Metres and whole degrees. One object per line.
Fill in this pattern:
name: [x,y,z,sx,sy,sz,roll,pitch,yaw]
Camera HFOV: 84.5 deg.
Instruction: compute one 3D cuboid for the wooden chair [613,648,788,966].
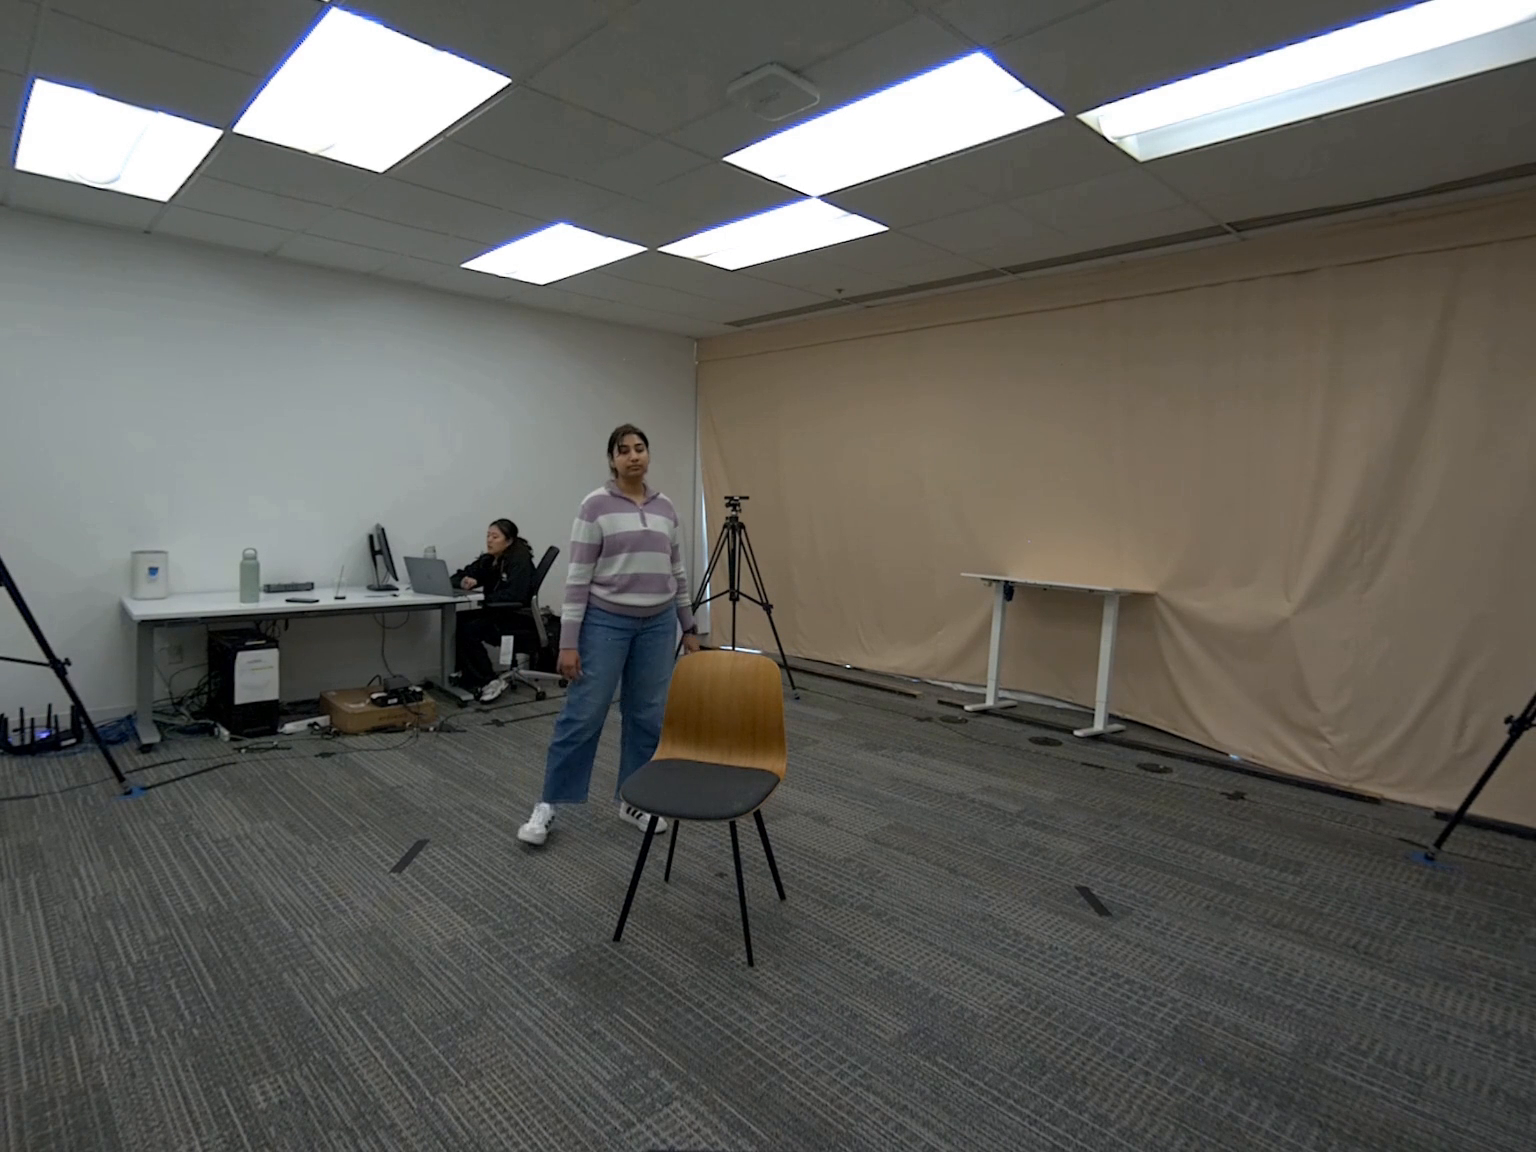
wooden chair: [-0.209,0.710,2.732,0.484,0.877,0.516,2,0,16]
